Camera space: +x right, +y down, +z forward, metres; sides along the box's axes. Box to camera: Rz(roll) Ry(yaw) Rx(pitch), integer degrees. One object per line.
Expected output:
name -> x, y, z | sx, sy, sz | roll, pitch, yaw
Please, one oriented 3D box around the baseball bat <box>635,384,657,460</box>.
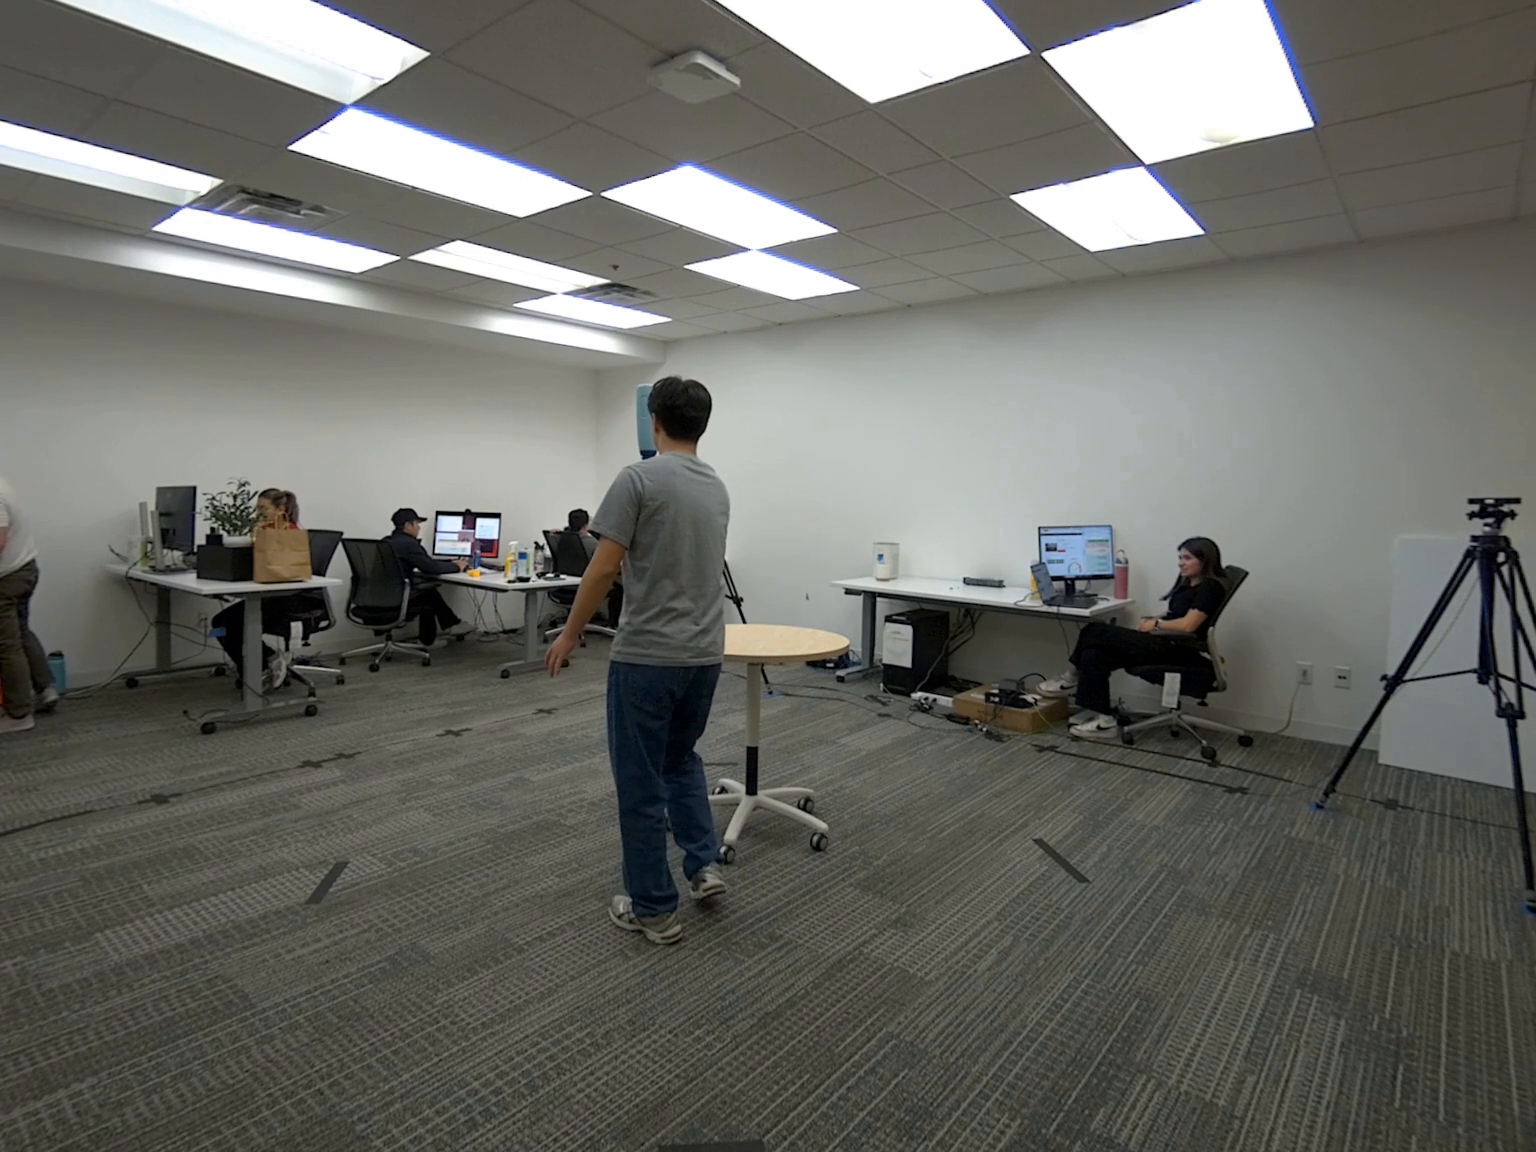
baseball bat -> -0.472, -0.463, 3.257 | 0.089, 0.540, 0.089 | 0, 5, -2
